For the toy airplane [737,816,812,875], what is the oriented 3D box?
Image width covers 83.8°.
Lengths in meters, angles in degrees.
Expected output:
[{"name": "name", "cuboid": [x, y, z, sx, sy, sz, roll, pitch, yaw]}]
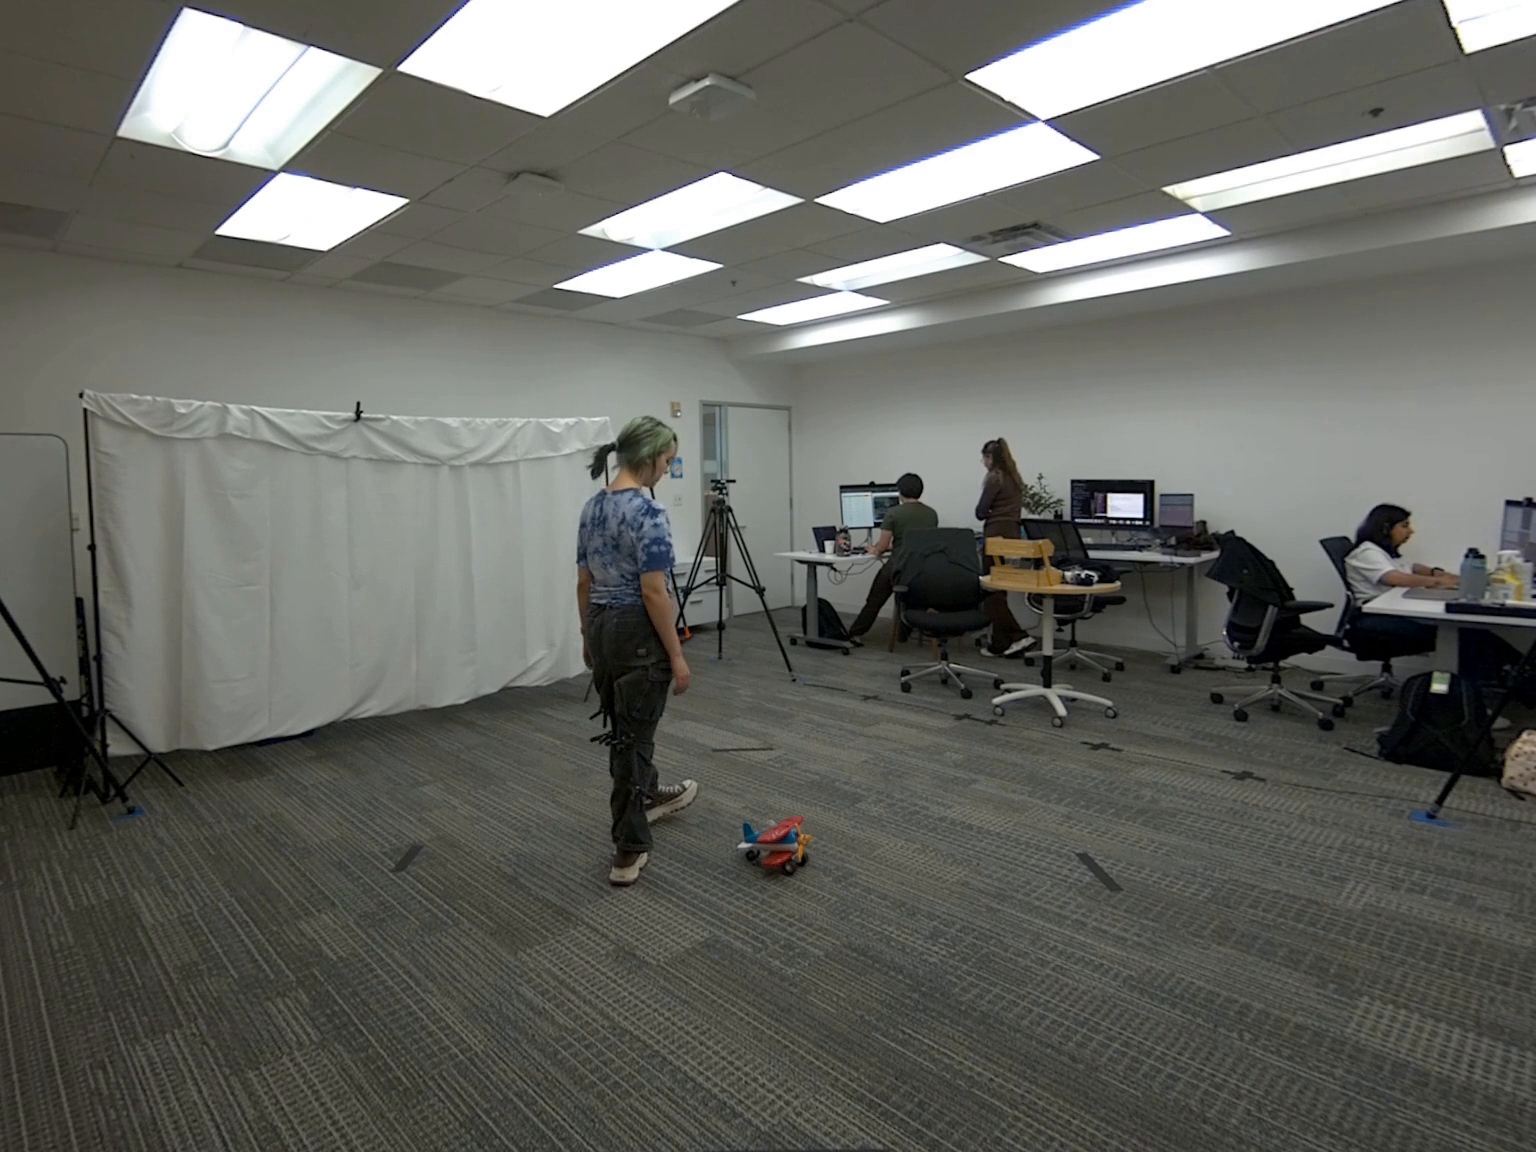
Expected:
[{"name": "toy airplane", "cuboid": [0.017, 0.970, 3.082, 0.261, 0.156, 0.251, 1, 5, 4]}]
